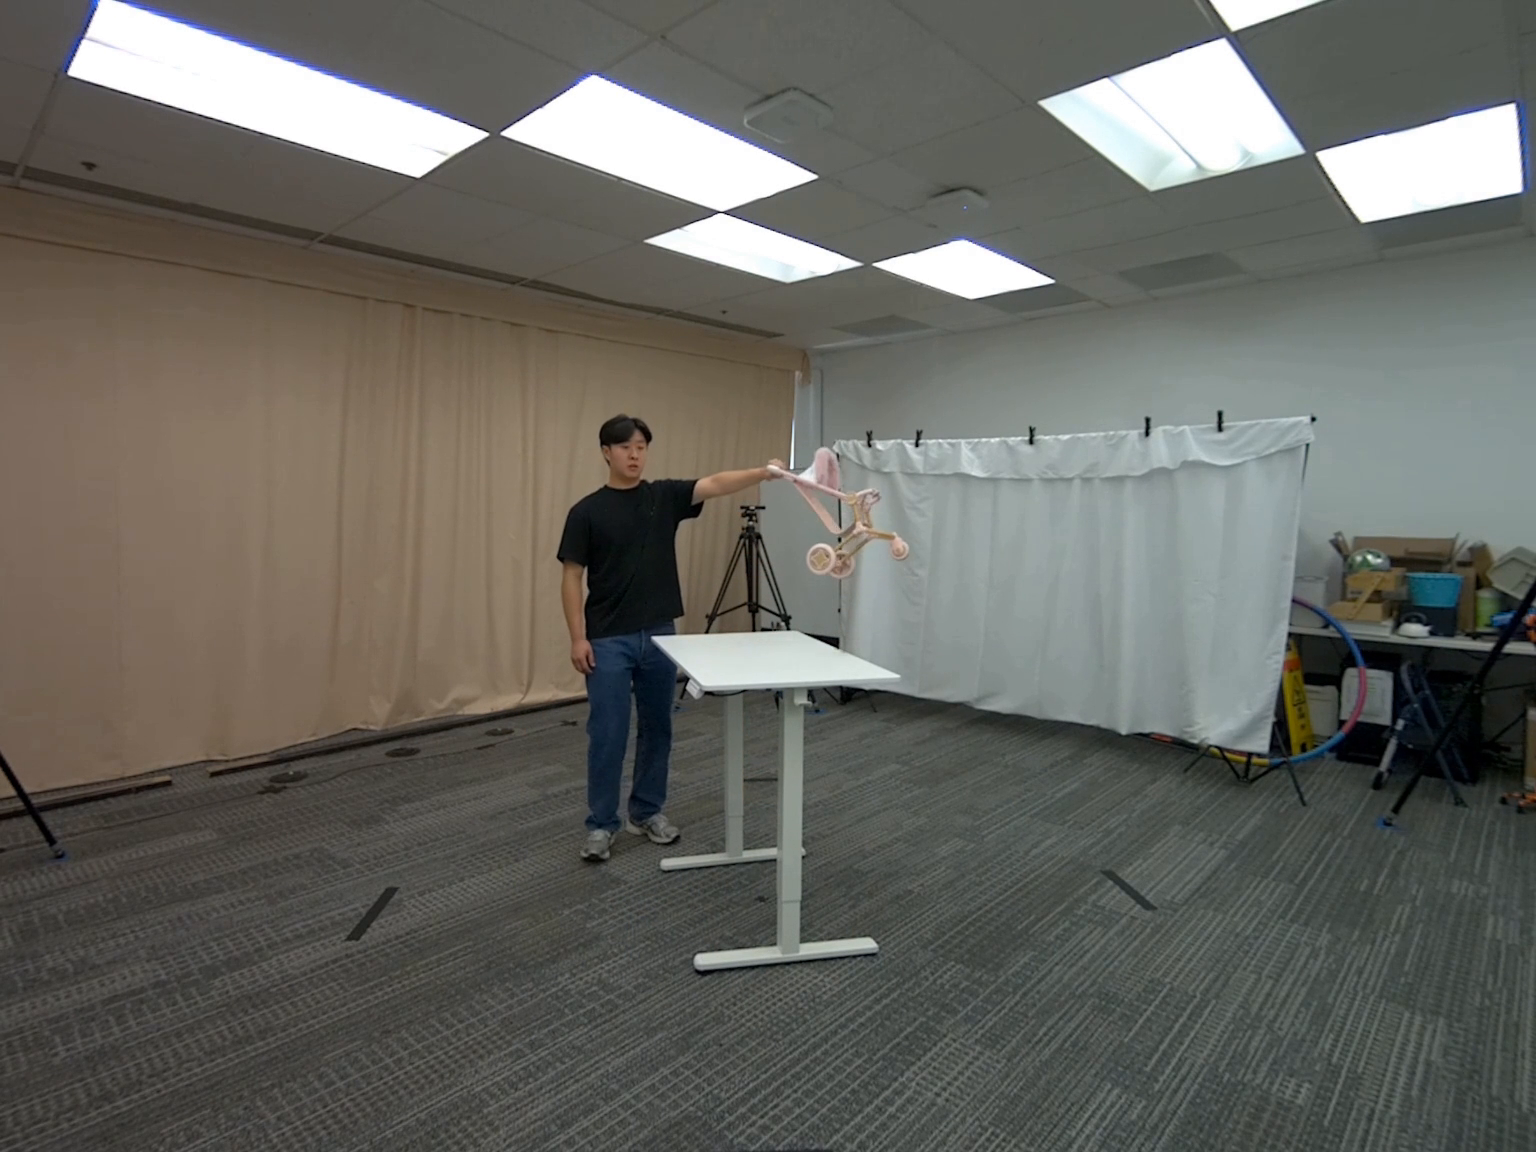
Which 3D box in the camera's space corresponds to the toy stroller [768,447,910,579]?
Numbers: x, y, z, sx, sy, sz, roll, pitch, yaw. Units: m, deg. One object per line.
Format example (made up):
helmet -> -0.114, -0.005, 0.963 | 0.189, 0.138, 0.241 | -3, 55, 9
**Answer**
toy stroller -> 0.256, -0.231, 3.069 | 0.346, 0.543, 0.274 | -29, -15, 22
